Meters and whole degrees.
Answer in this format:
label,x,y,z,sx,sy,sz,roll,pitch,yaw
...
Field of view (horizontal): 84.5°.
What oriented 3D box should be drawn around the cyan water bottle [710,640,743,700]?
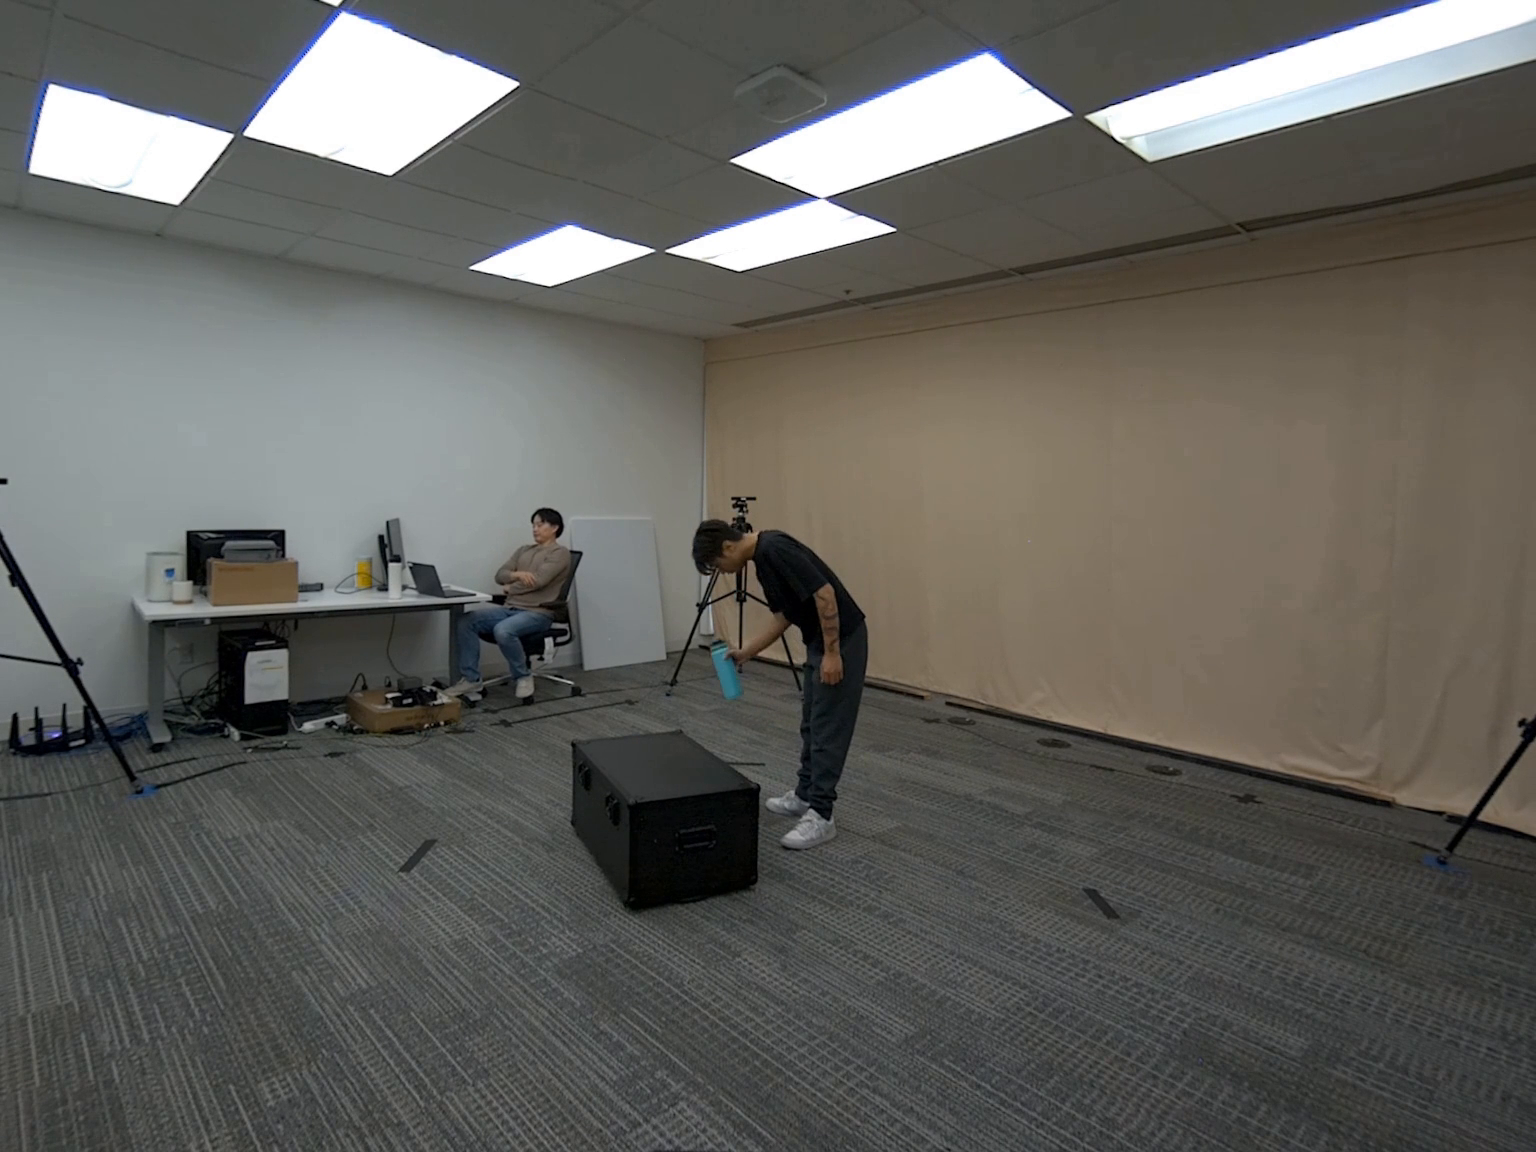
label,x,y,z,sx,sy,sz,roll,pitch,yaw
cyan water bottle,-0.199,0.418,3.847,0.092,0.286,0.091,-19,-10,-4
